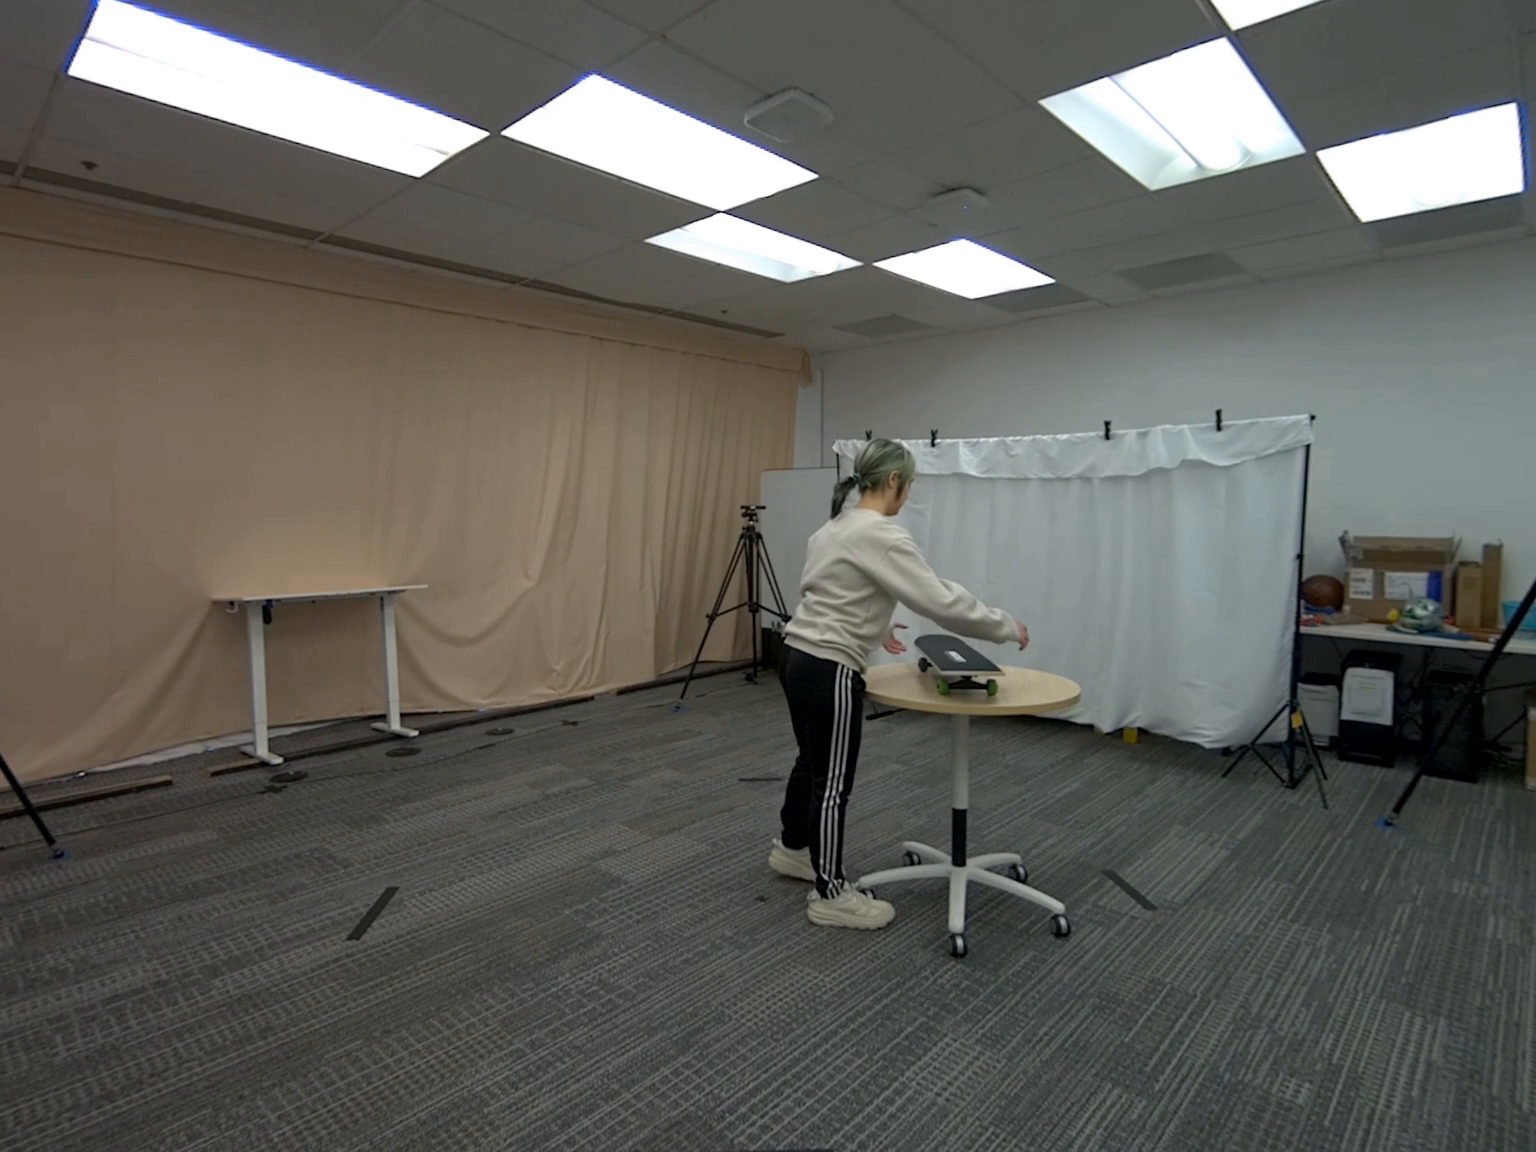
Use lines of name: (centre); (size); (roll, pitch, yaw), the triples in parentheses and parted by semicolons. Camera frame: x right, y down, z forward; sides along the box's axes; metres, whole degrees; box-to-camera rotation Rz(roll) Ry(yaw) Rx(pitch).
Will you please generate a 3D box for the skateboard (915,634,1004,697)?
skateboard: (0.649, 0.315, 2.892); (0.194, 0.110, 0.784); (-1, 4, 1)
